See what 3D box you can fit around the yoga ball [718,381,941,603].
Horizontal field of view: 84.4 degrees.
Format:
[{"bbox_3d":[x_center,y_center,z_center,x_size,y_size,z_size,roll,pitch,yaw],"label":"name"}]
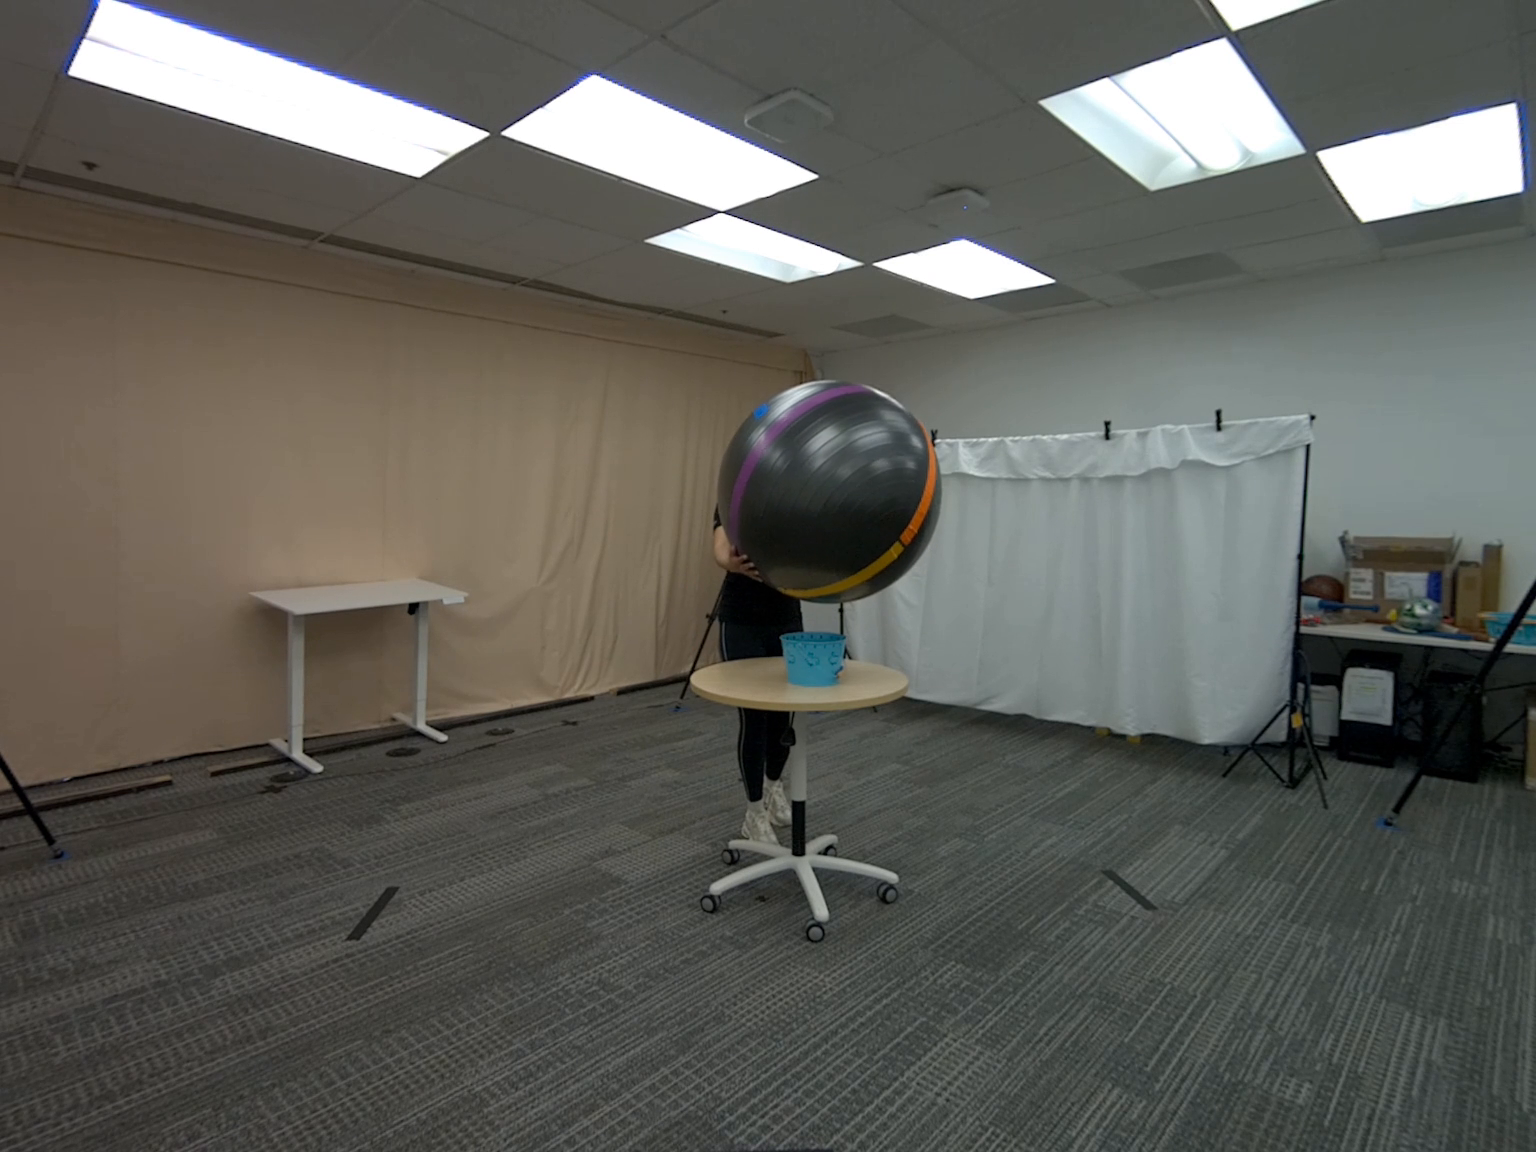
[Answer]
[{"bbox_3d":[0.210,-0.278,2.879,0.757,0.756,0.761,0,4,-2],"label":"yoga ball"}]
